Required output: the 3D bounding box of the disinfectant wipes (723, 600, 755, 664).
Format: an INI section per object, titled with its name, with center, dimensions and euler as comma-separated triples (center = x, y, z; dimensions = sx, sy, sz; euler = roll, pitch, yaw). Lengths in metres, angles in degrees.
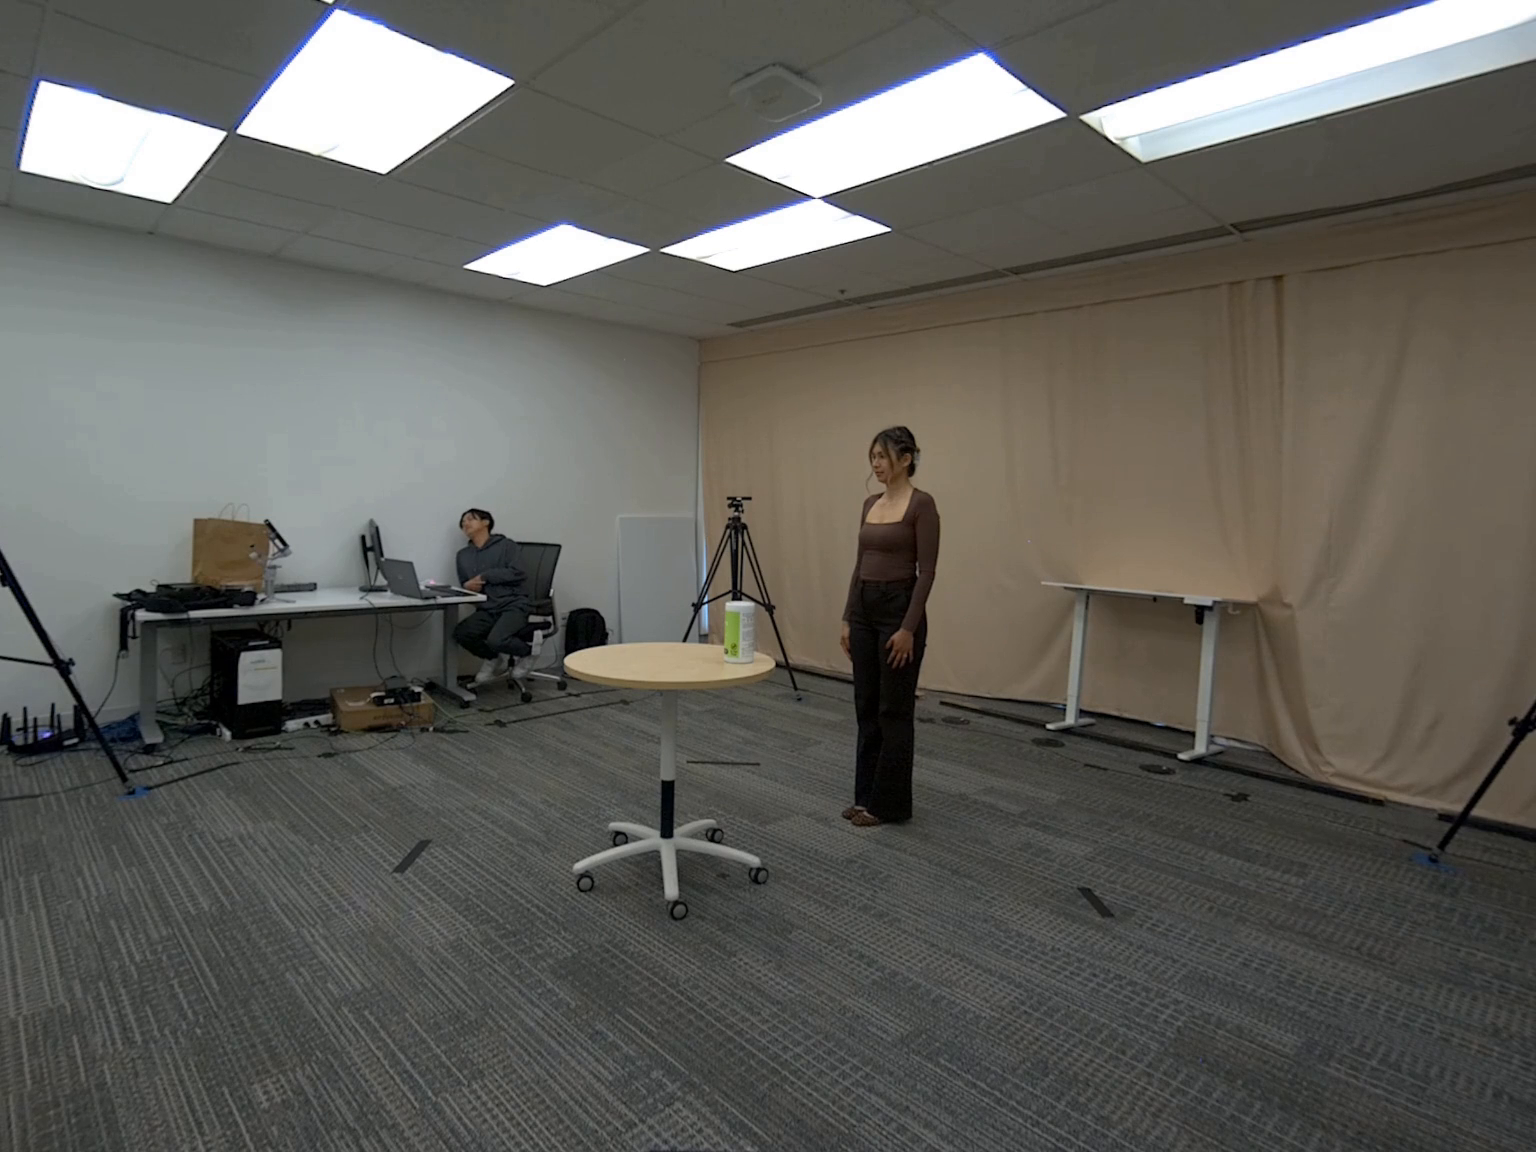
[disinfectant wipes]
center = -0.106, 0.208, 3.065
dimensions = 0.118, 0.217, 0.118
euler = 1, 4, -1
